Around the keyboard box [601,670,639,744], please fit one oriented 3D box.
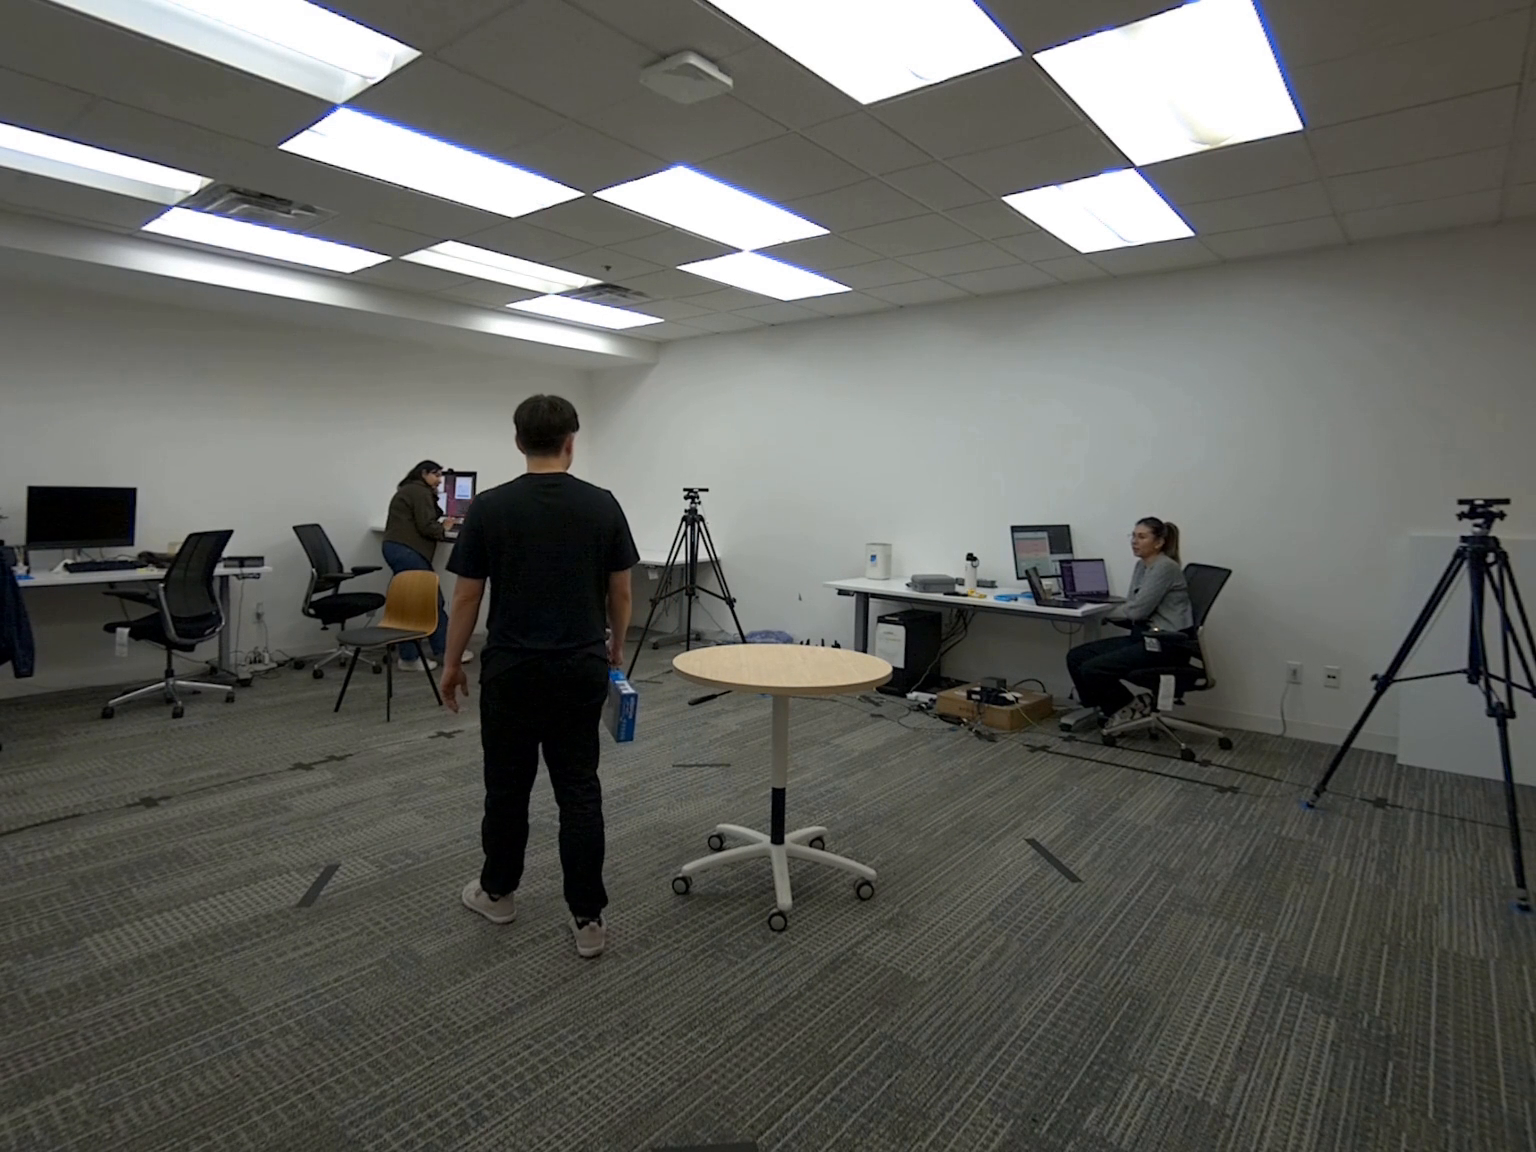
[{"bbox_3d":[-0.561,0.390,2.925,0.057,0.174,0.454,0,18,-29],"label":"keyboard box"}]
